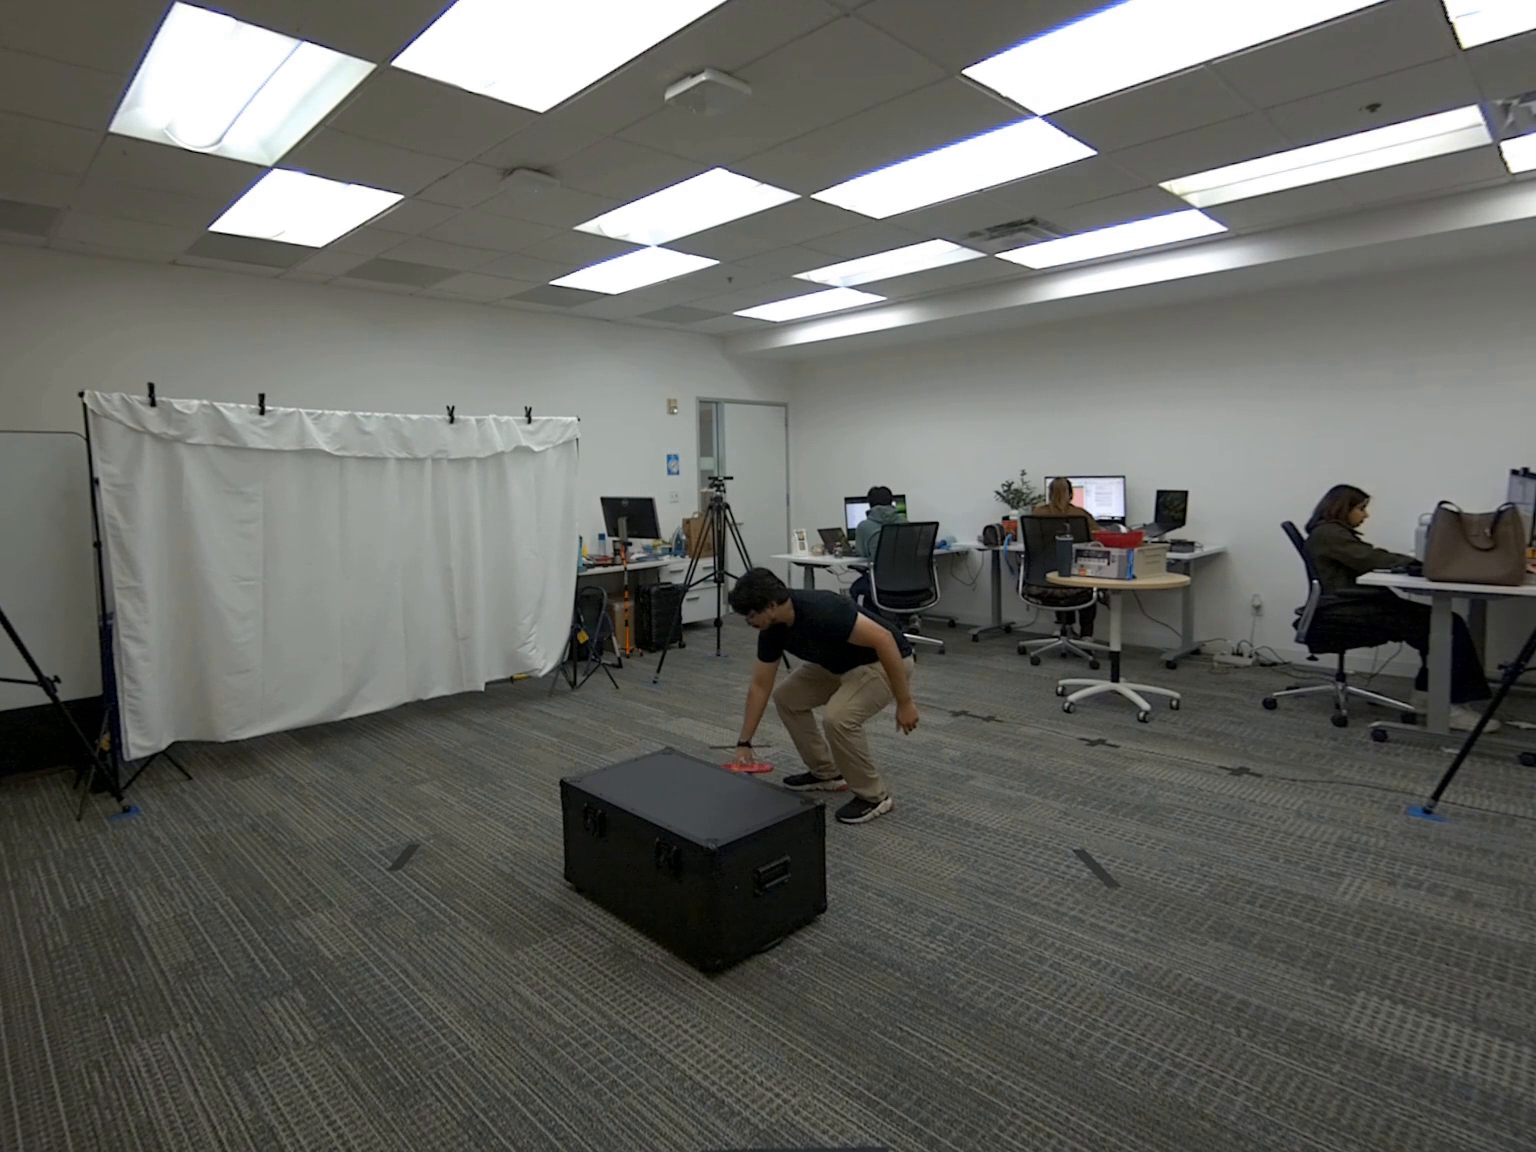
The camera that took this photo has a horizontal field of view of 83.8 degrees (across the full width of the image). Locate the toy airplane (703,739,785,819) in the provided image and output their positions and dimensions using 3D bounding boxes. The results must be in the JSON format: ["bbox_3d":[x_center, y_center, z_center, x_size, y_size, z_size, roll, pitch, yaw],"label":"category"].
[{"bbox_3d":[-0.106,0.844,3.591,0.247,0.154,0.267,-12,19,-19],"label":"toy airplane"}]
